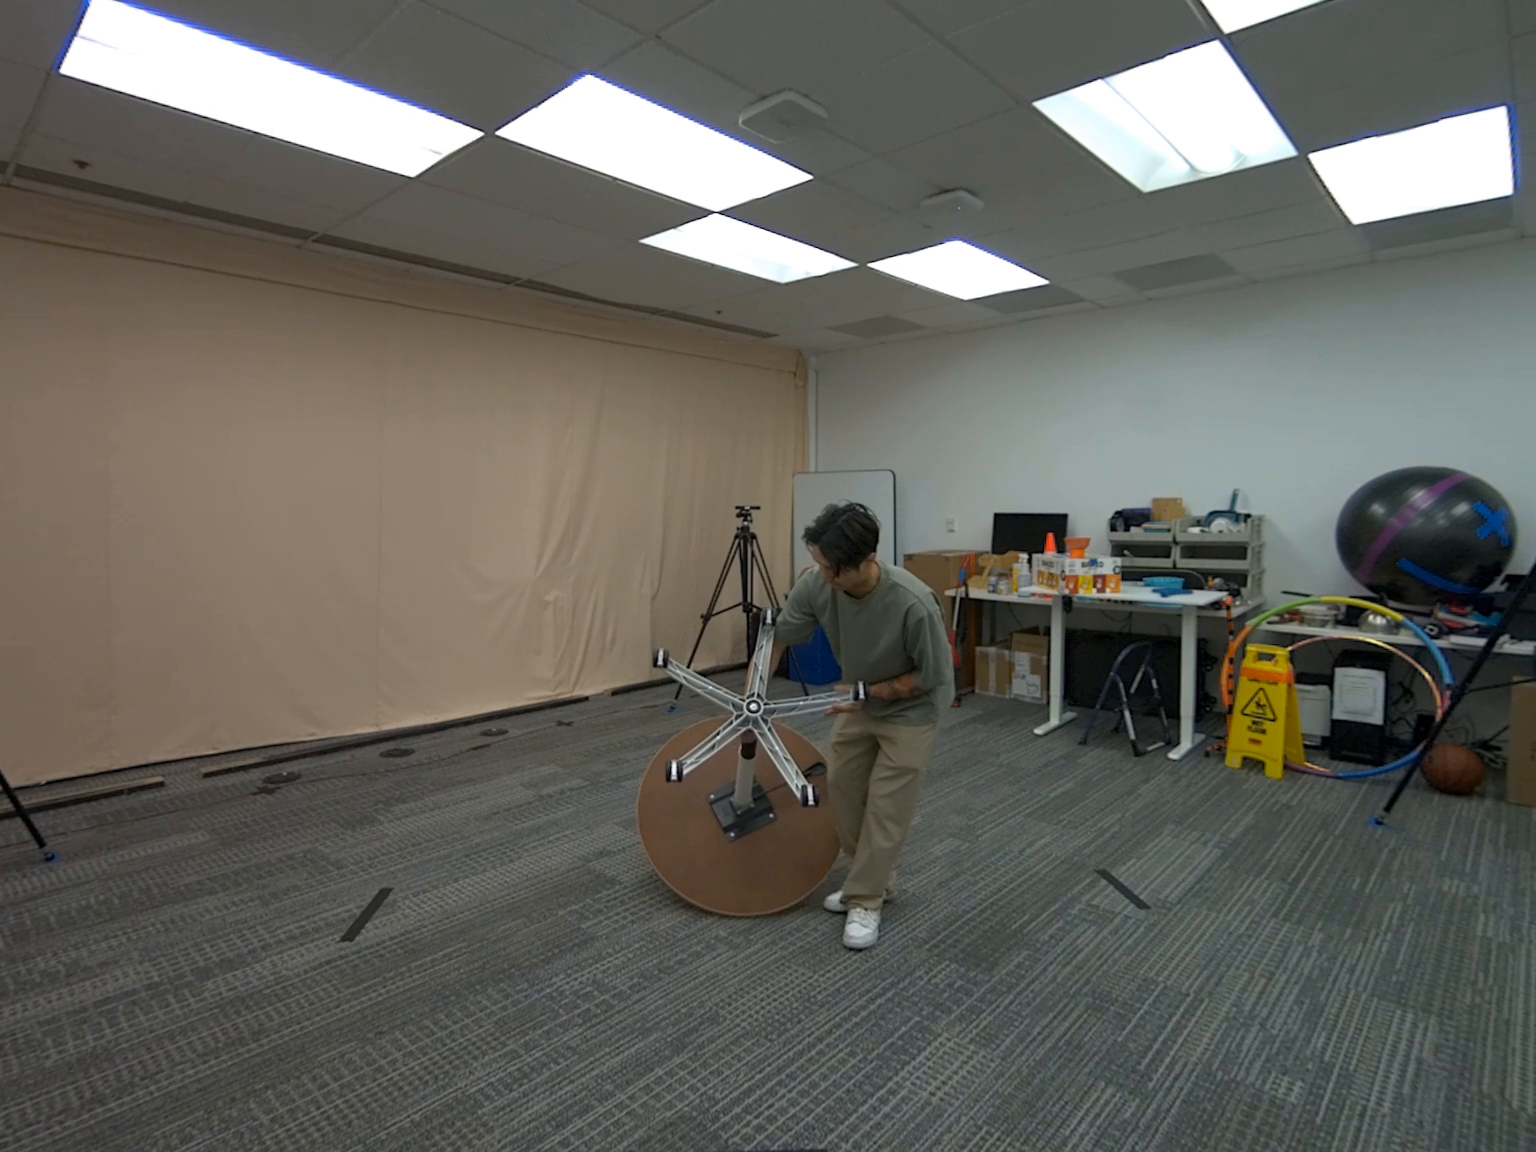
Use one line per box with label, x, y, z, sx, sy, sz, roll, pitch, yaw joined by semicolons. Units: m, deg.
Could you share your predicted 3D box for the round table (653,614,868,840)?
round table;-0.068;0.604;2.827;0.783;0.800;0.774;2;-42;-4
